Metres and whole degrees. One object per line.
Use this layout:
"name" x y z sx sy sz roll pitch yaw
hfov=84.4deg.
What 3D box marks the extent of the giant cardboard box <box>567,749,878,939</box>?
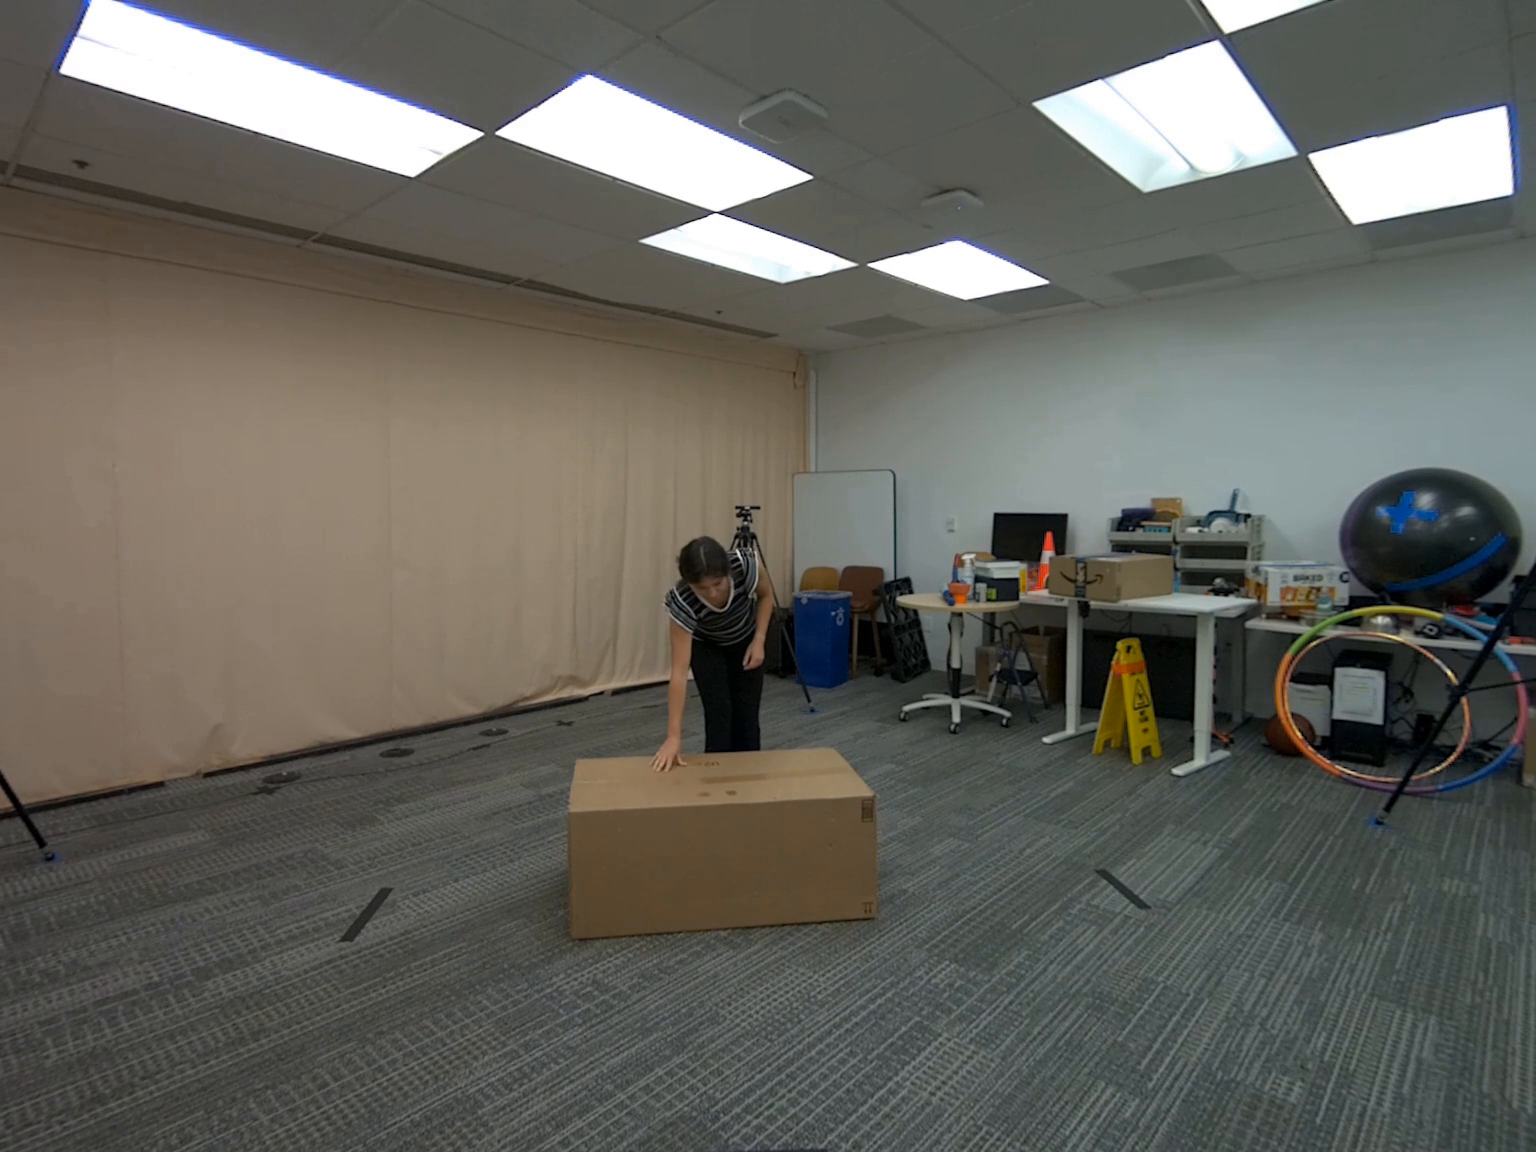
"giant cardboard box" -0.187 0.931 3.036 1.018 0.425 0.583 -1 4 -8
